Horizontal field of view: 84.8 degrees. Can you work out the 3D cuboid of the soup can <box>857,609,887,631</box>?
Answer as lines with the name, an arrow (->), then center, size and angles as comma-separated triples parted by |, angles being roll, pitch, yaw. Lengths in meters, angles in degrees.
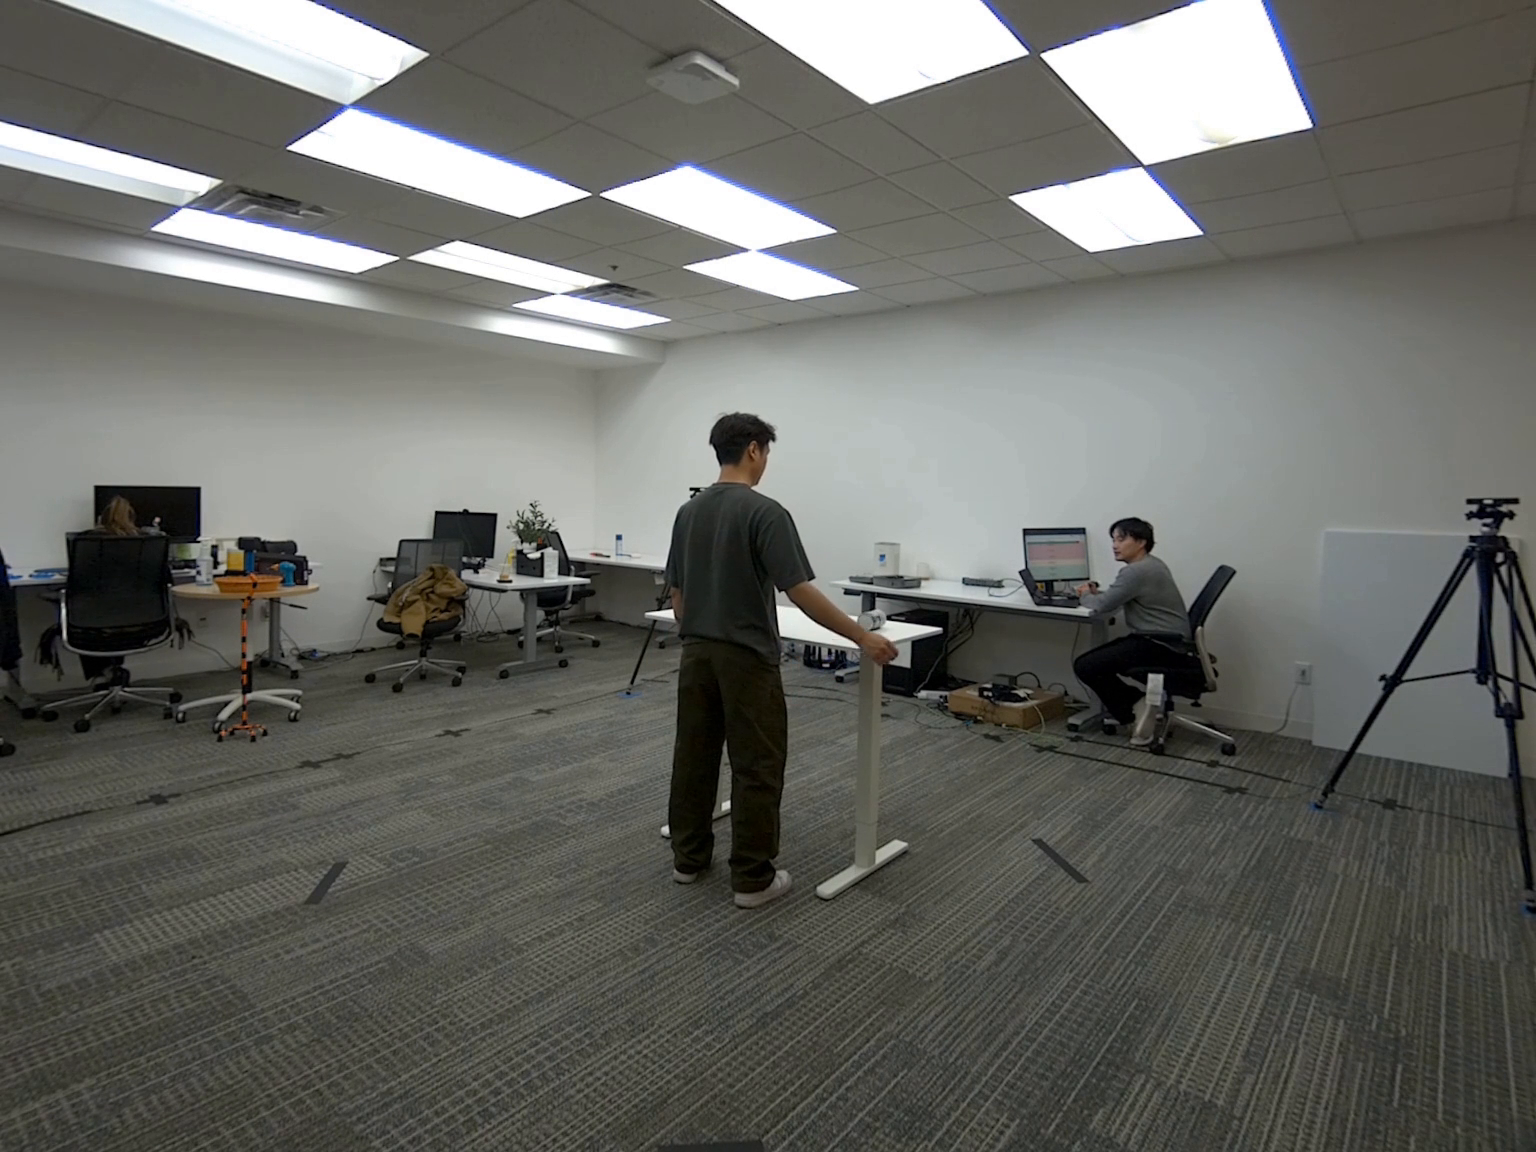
soup can -> 0.361, 0.165, 3.158 | 0.069, 0.067, 0.118 | 4, 3, 34
